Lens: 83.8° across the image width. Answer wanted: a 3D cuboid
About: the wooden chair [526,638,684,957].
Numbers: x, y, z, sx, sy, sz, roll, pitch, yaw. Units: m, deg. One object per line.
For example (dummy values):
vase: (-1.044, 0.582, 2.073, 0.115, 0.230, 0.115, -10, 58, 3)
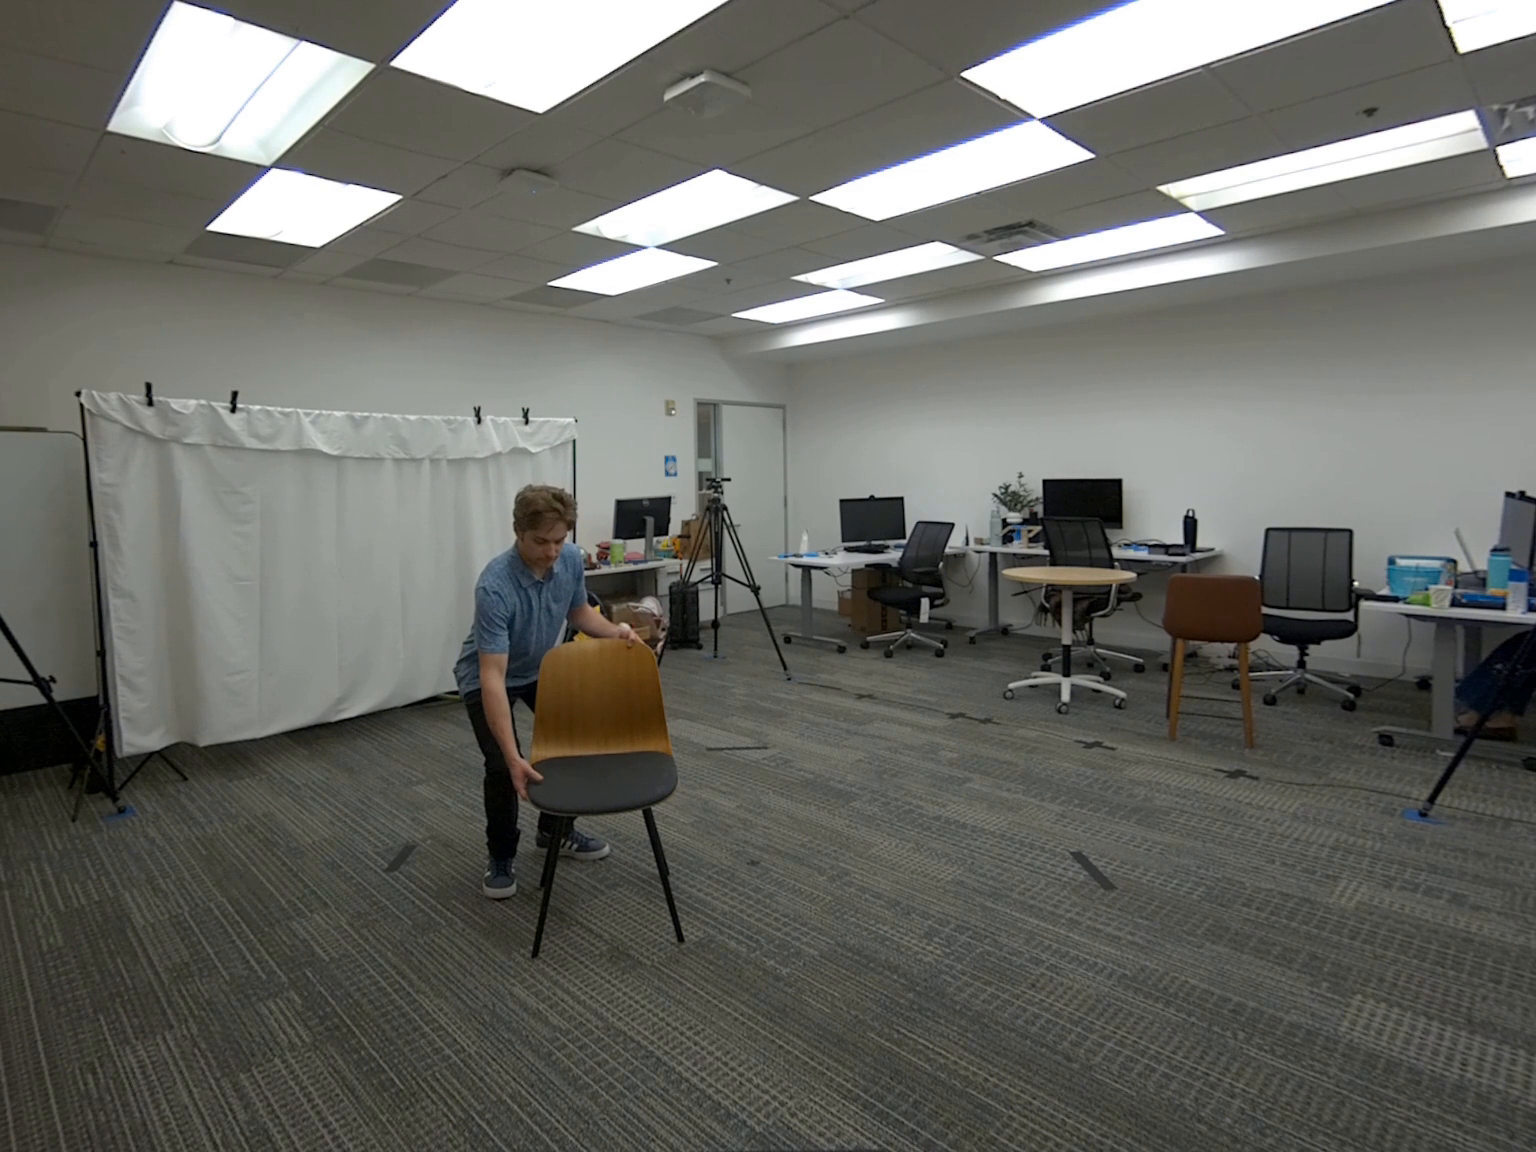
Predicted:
wooden chair: (-0.516, 0.664, 2.720, 0.473, 0.877, 0.529, -1, 1, -12)
